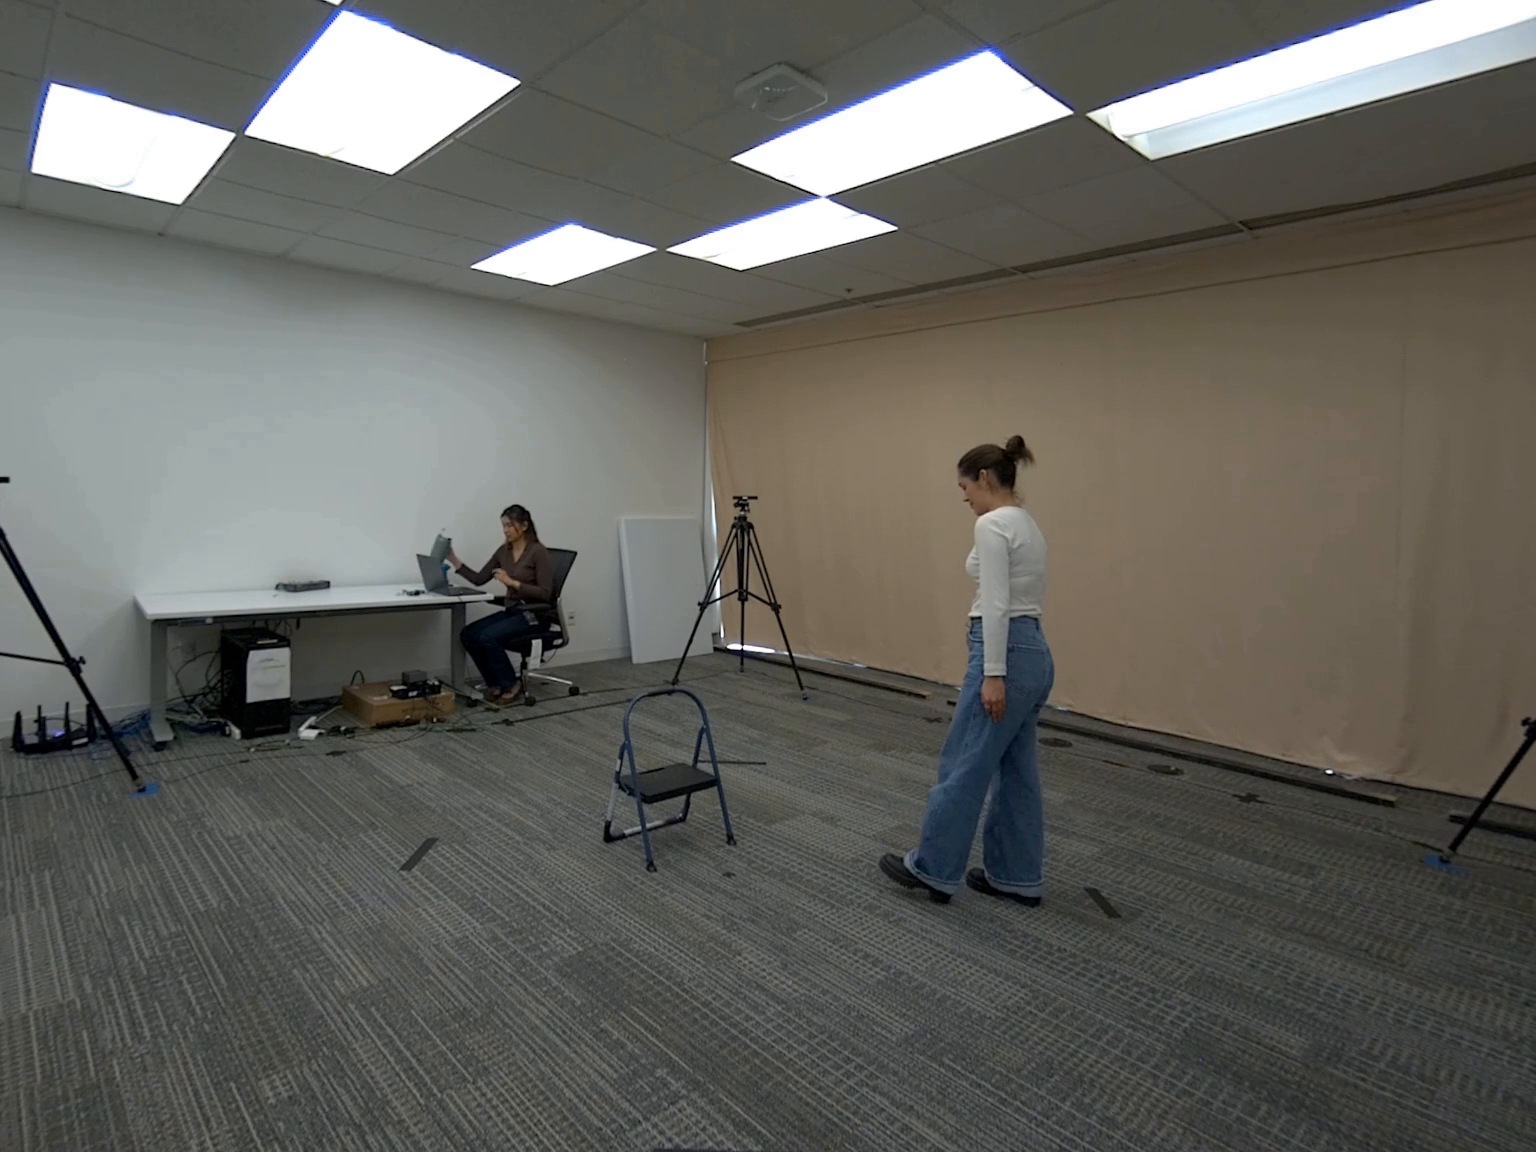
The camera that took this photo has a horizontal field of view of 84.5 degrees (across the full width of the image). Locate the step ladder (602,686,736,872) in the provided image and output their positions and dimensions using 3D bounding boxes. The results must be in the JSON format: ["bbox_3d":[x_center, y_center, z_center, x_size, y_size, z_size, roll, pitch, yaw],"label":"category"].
[{"bbox_3d":[-0.394,0.769,3.368,0.420,0.604,0.358,-1,5,-42],"label":"step ladder"}]
